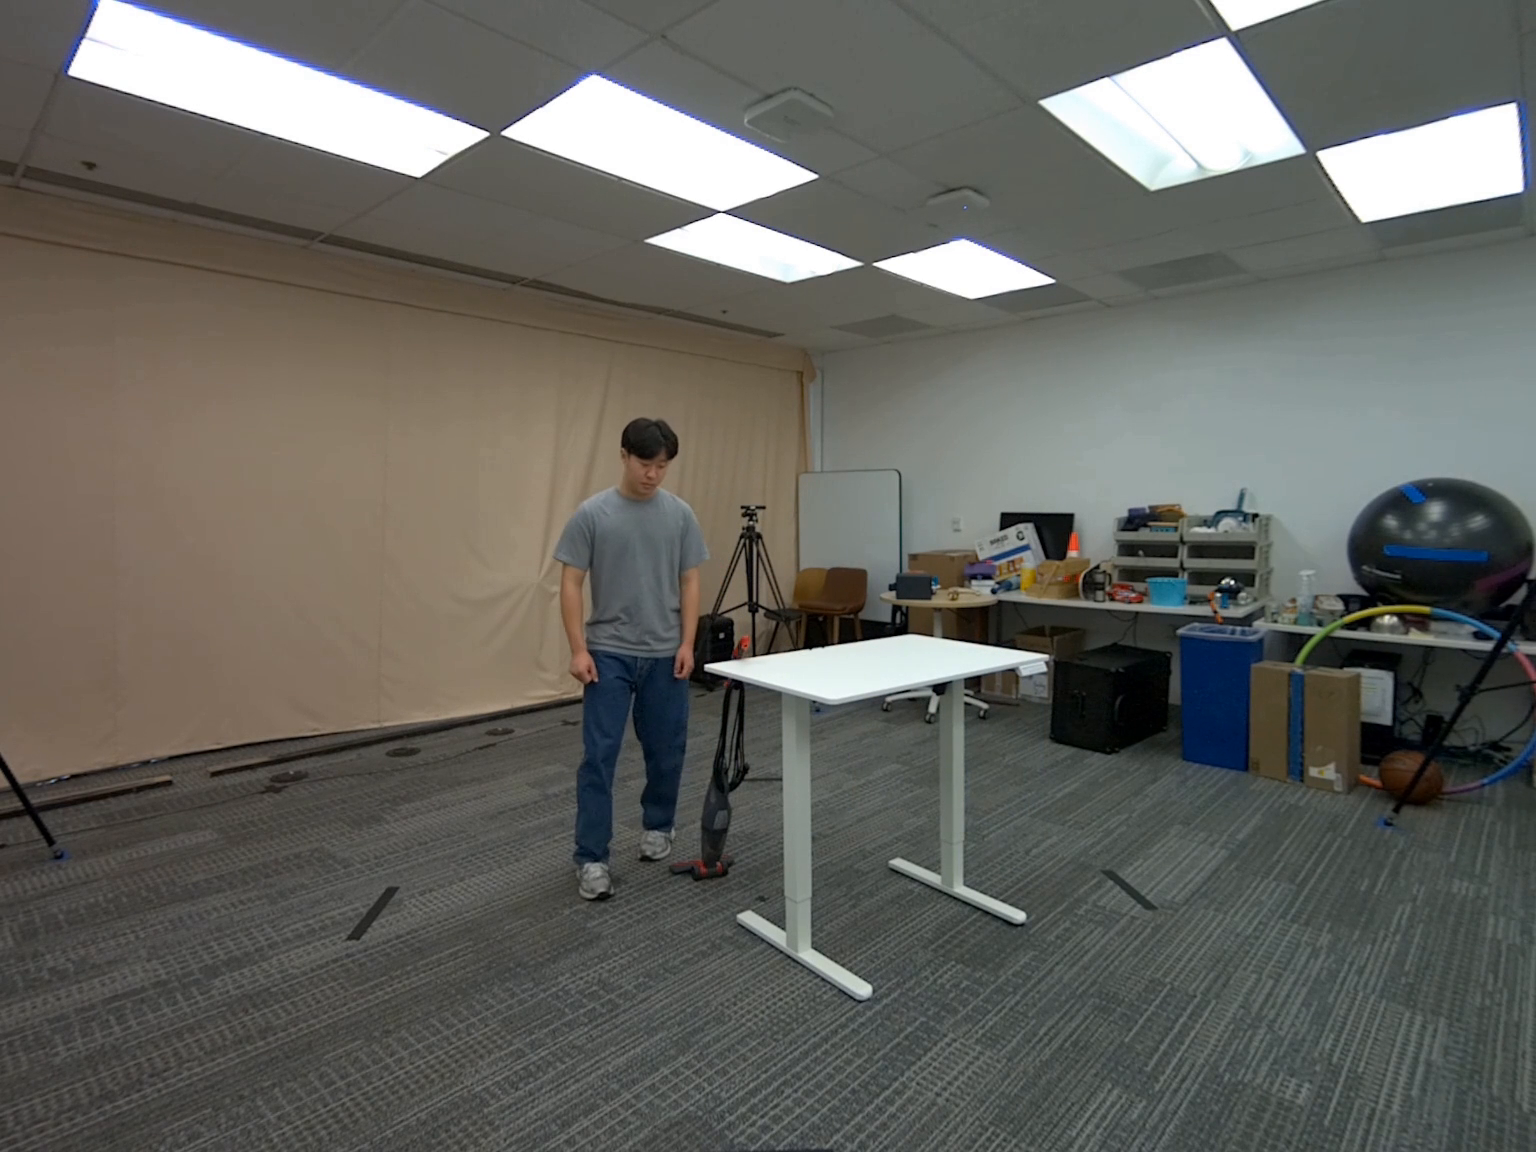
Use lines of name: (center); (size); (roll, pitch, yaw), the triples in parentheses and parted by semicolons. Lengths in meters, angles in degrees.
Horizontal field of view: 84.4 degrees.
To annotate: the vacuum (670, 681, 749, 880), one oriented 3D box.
vacuum: (-0.162, 0.672, 2.969); (0.246, 1.037, 0.149); (-9, 32, -29)
